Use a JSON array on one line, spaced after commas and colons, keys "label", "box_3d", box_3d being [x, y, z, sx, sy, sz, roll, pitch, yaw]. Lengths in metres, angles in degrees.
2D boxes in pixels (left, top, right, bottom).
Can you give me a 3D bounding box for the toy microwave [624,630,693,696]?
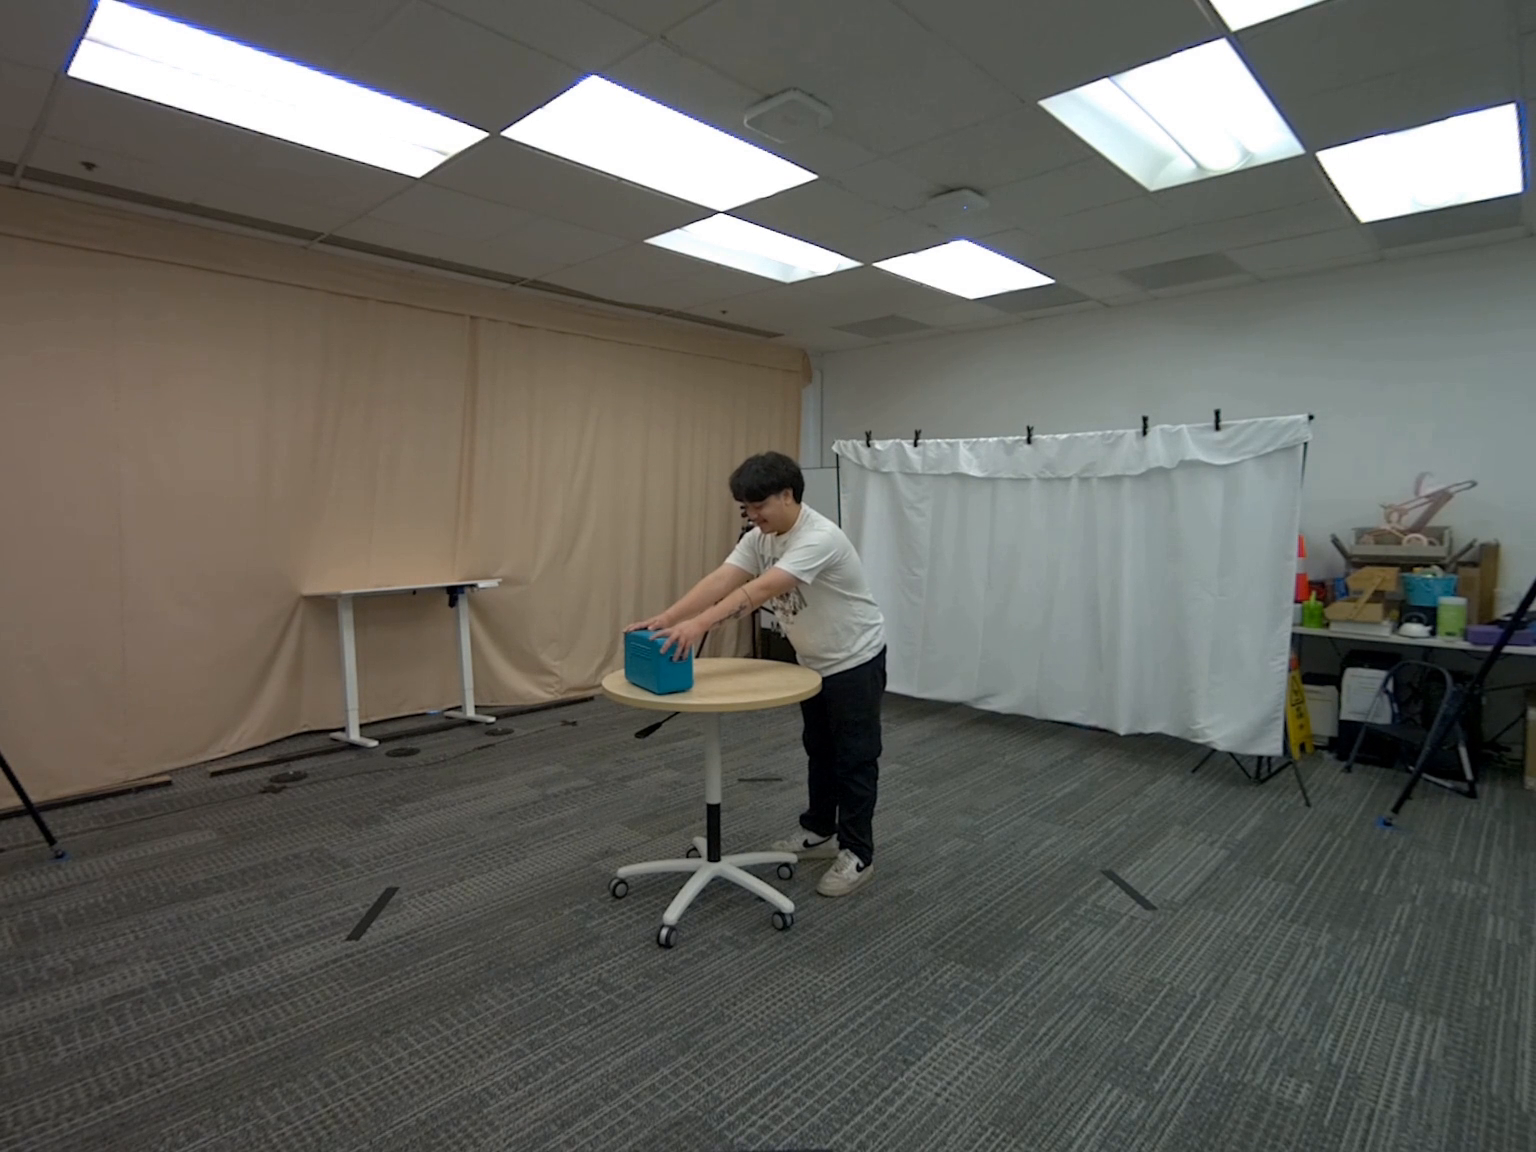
[{"label": "toy microwave", "box_3d": [-0.358, 0.279, 2.814, 0.148, 0.184, 0.295, -2, 4, -31]}]
